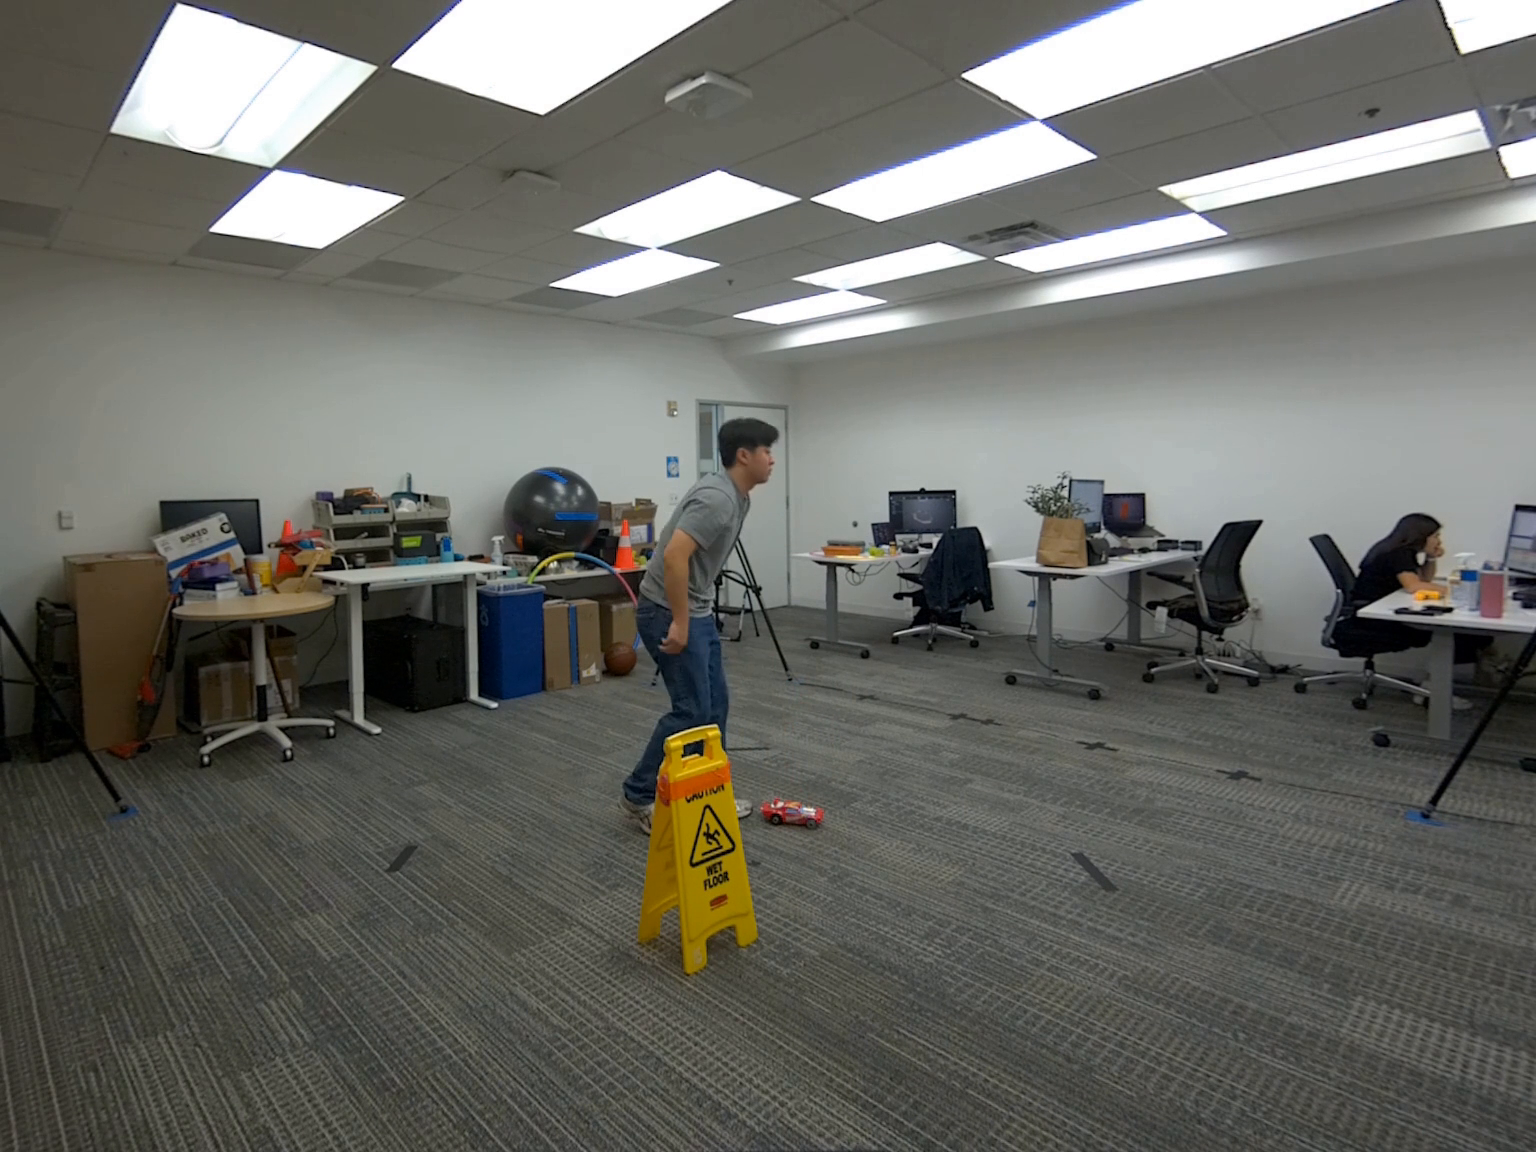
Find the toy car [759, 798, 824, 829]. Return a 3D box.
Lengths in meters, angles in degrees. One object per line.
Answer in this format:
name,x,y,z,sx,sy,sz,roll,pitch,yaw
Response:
toy car,0.095,0.966,3.475,0.259,0.083,0.129,13,7,14
